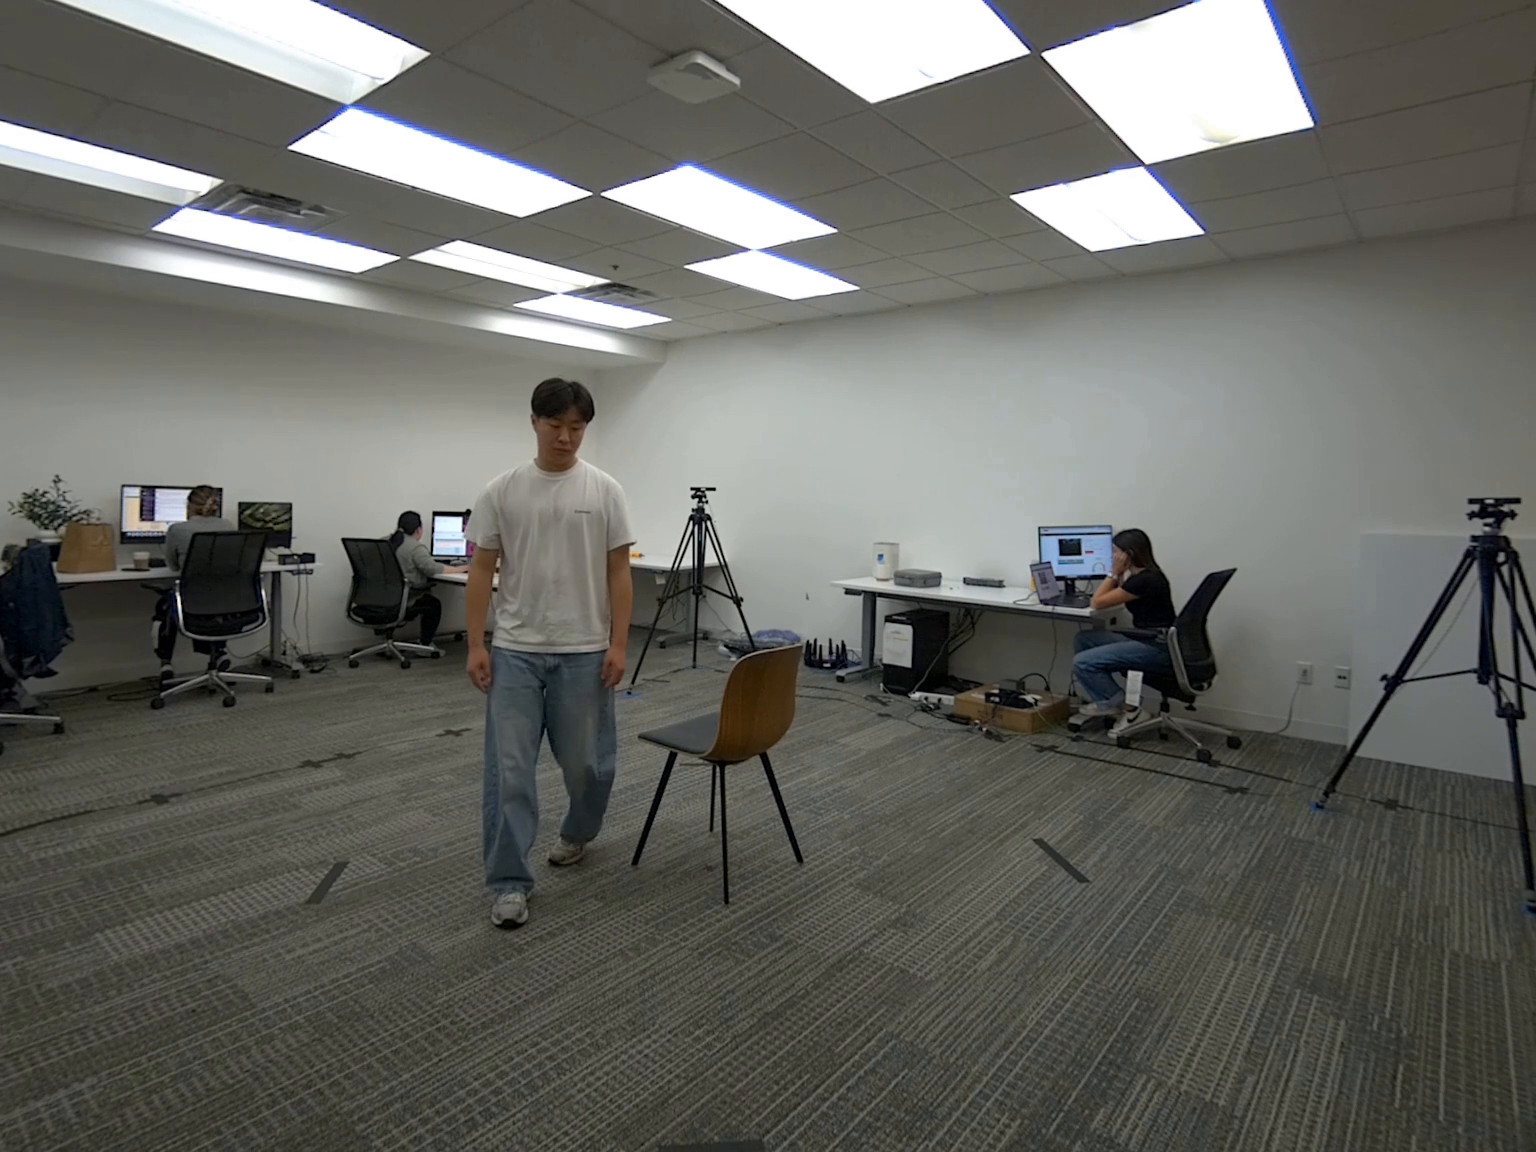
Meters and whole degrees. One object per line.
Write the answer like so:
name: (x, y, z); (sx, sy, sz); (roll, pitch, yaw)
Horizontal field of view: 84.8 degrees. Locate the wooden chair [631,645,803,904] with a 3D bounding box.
wooden chair: (-0.192, 0.637, 3.130); (0.542, 0.873, 0.464); (9, 7, 38)
